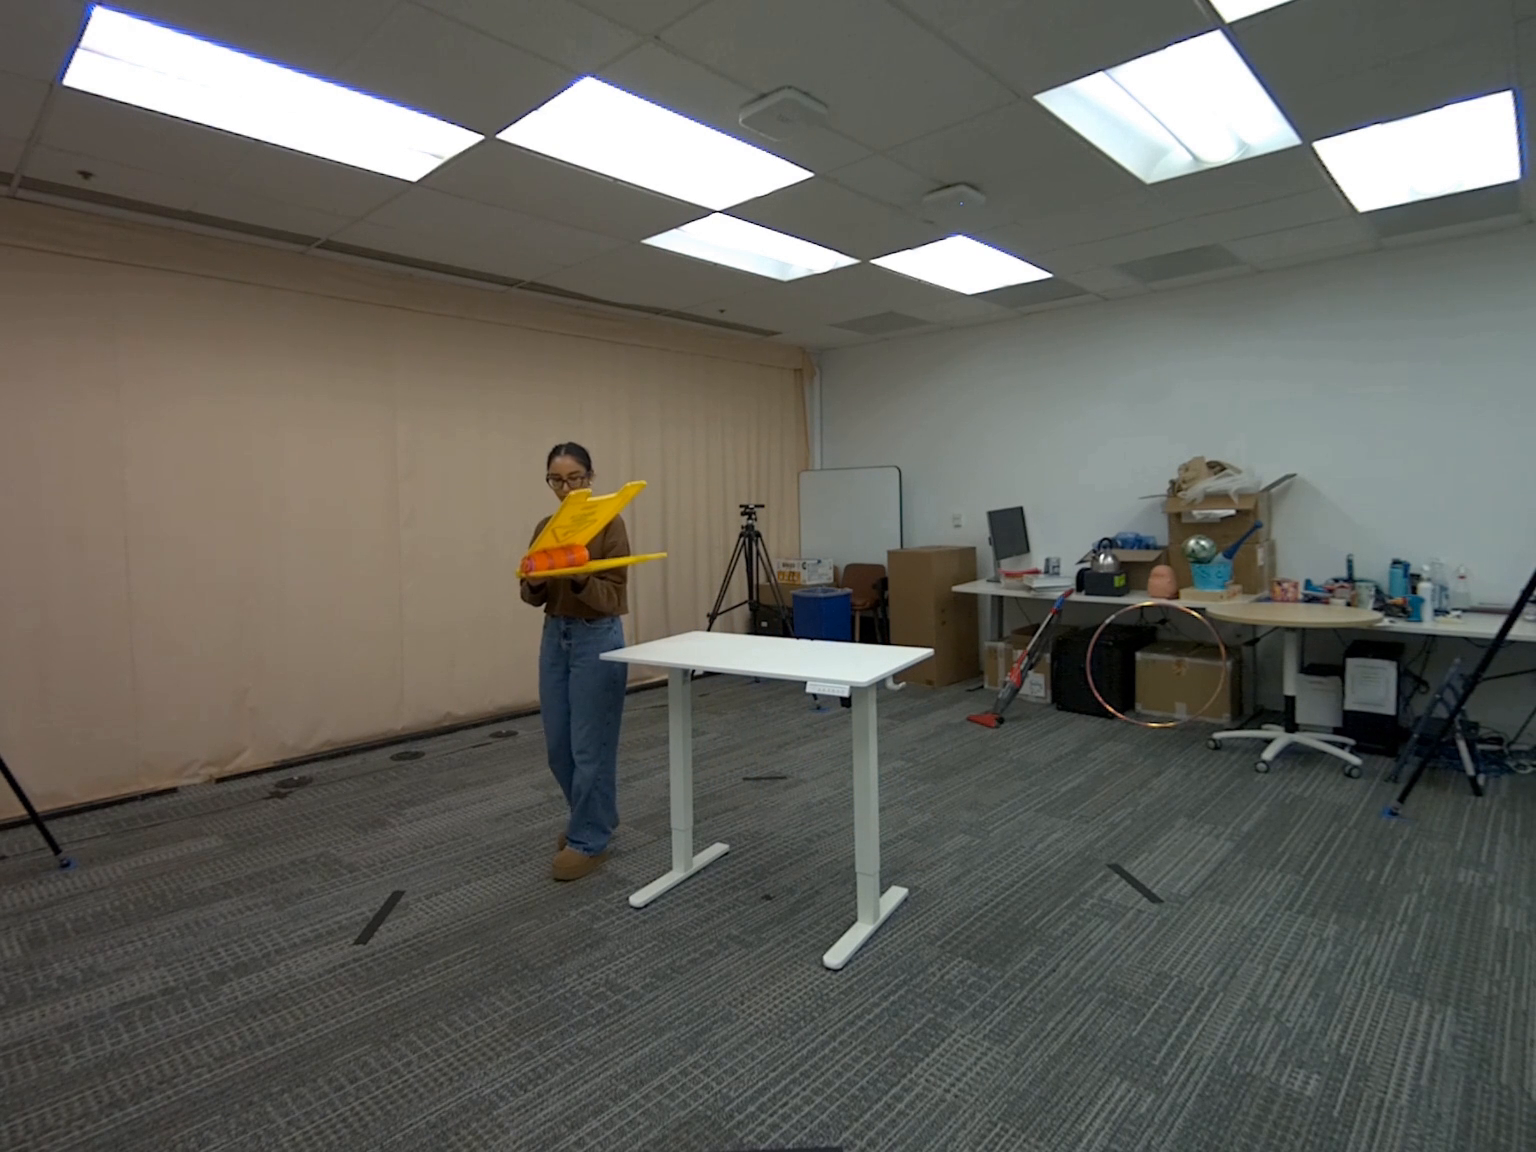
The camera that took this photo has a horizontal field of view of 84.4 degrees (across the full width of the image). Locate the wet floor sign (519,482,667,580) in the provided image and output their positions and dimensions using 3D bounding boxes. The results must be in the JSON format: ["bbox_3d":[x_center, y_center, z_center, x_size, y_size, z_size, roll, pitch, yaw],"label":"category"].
[{"bbox_3d":[-0.657,-0.085,2.868,0.275,0.290,0.661,-14,-3,-39],"label":"wet floor sign"}]
